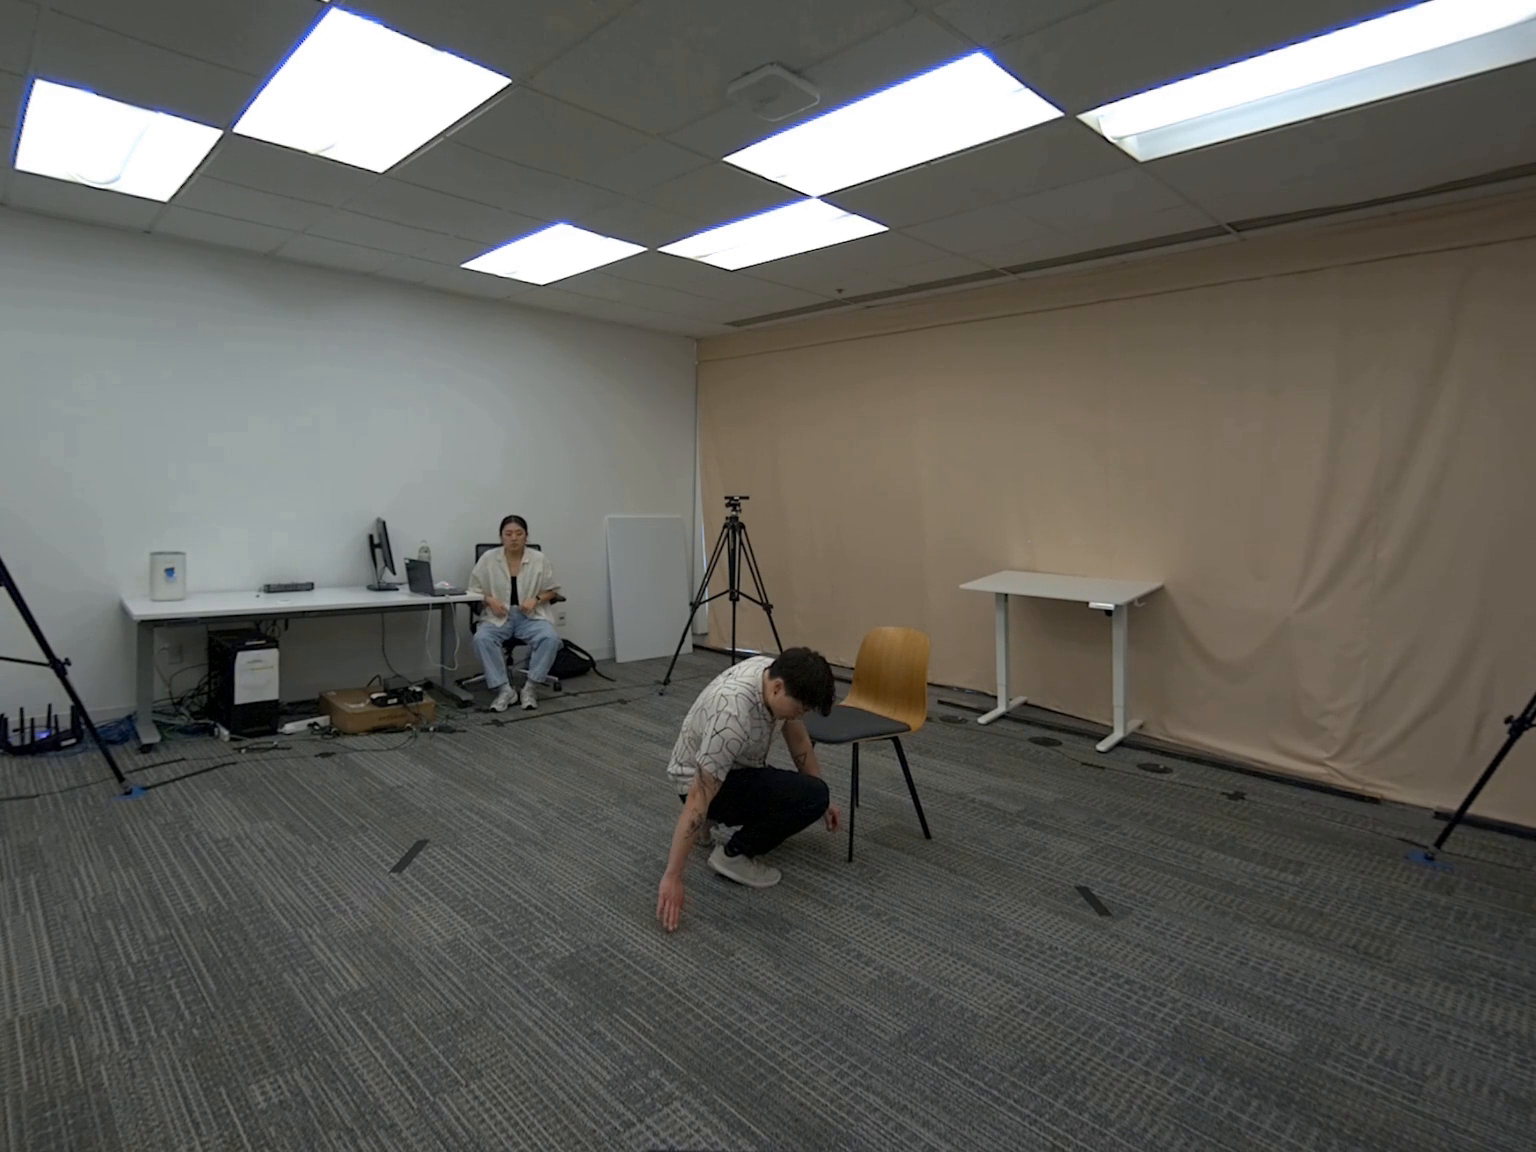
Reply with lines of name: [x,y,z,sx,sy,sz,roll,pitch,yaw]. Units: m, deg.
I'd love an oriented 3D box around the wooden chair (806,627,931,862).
wooden chair: [0.364,0.653,3.515,0.511,0.877,0.490,4,1,-36]
